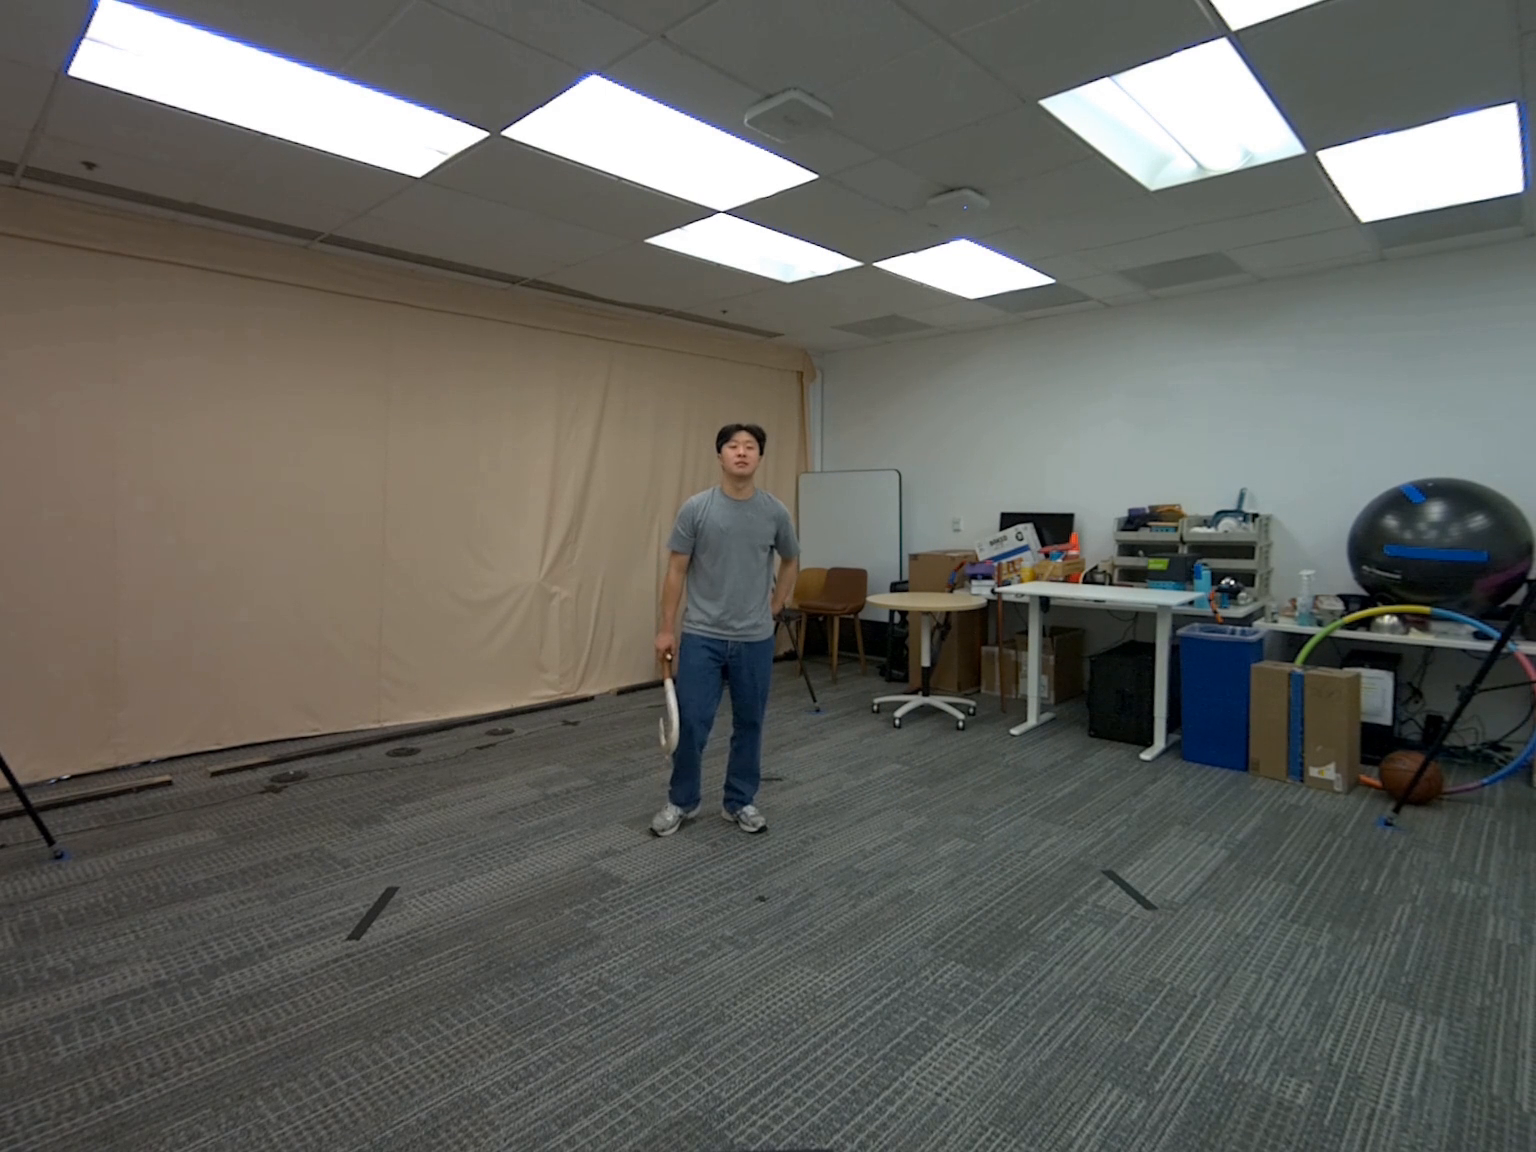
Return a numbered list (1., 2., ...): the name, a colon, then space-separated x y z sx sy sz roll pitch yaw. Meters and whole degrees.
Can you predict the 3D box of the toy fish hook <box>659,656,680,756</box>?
1. toy fish hook: -0.425 0.503 3.510 0.047 0.517 0.225 10 -38 -24
